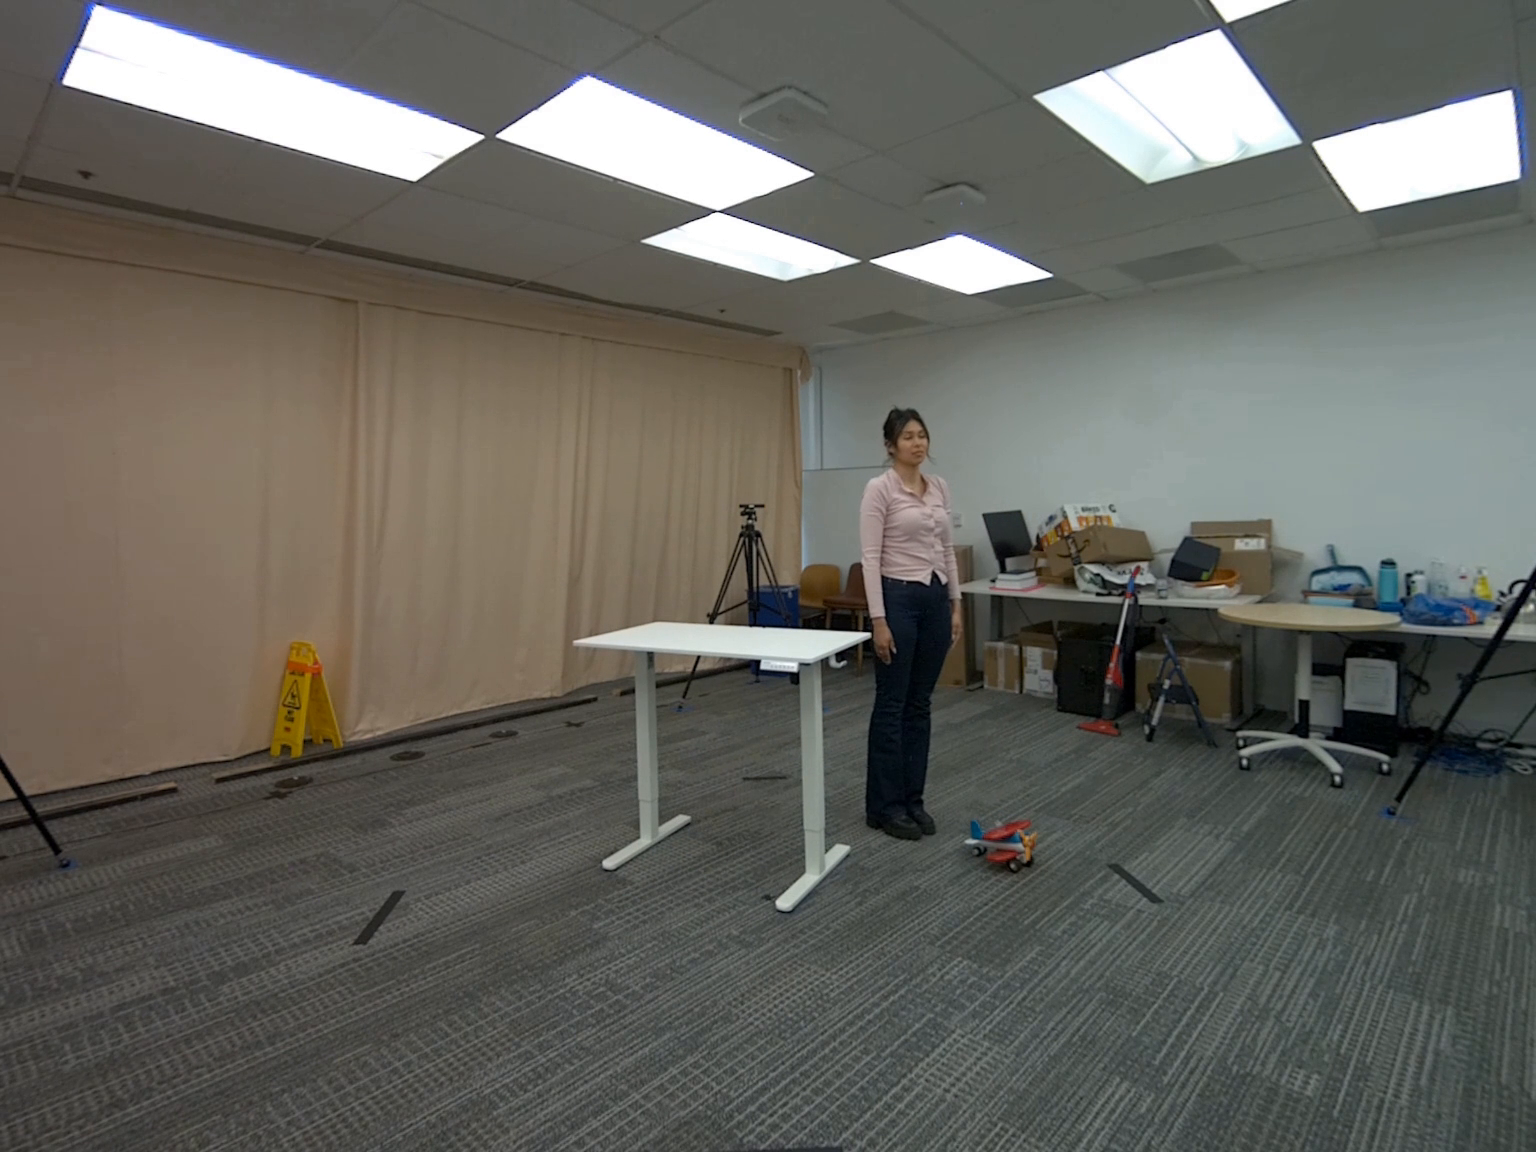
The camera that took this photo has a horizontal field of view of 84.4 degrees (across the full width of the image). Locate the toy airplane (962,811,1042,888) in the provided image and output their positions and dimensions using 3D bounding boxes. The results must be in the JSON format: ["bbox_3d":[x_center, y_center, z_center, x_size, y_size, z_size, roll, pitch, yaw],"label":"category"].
[{"bbox_3d":[0.892,1.031,3.220,0.265,0.156,0.246,2,5,22],"label":"toy airplane"}]
